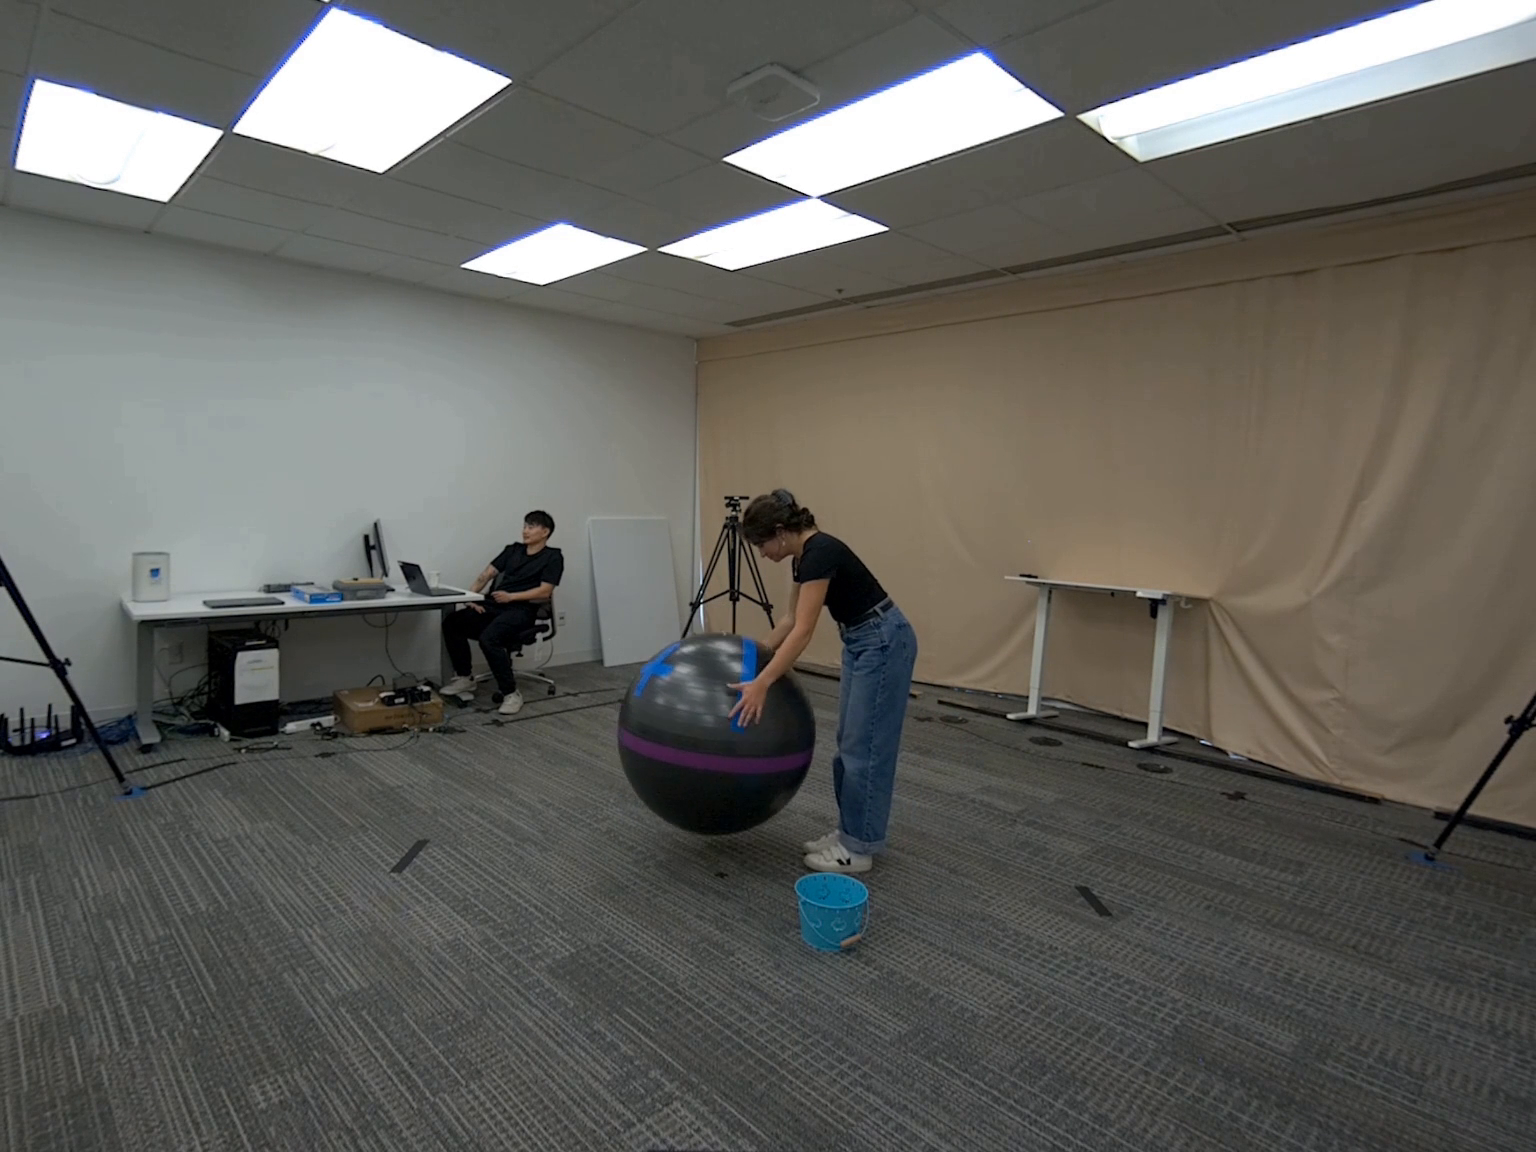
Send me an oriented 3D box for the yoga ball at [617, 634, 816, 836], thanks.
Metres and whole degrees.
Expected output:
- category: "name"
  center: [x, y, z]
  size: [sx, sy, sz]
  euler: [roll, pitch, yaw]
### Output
- category: "yoga ball"
  center: [-0.207, 0.603, 3.256]
  size: [0.757, 0.756, 0.761]
  euler: [1, 4, -1]
